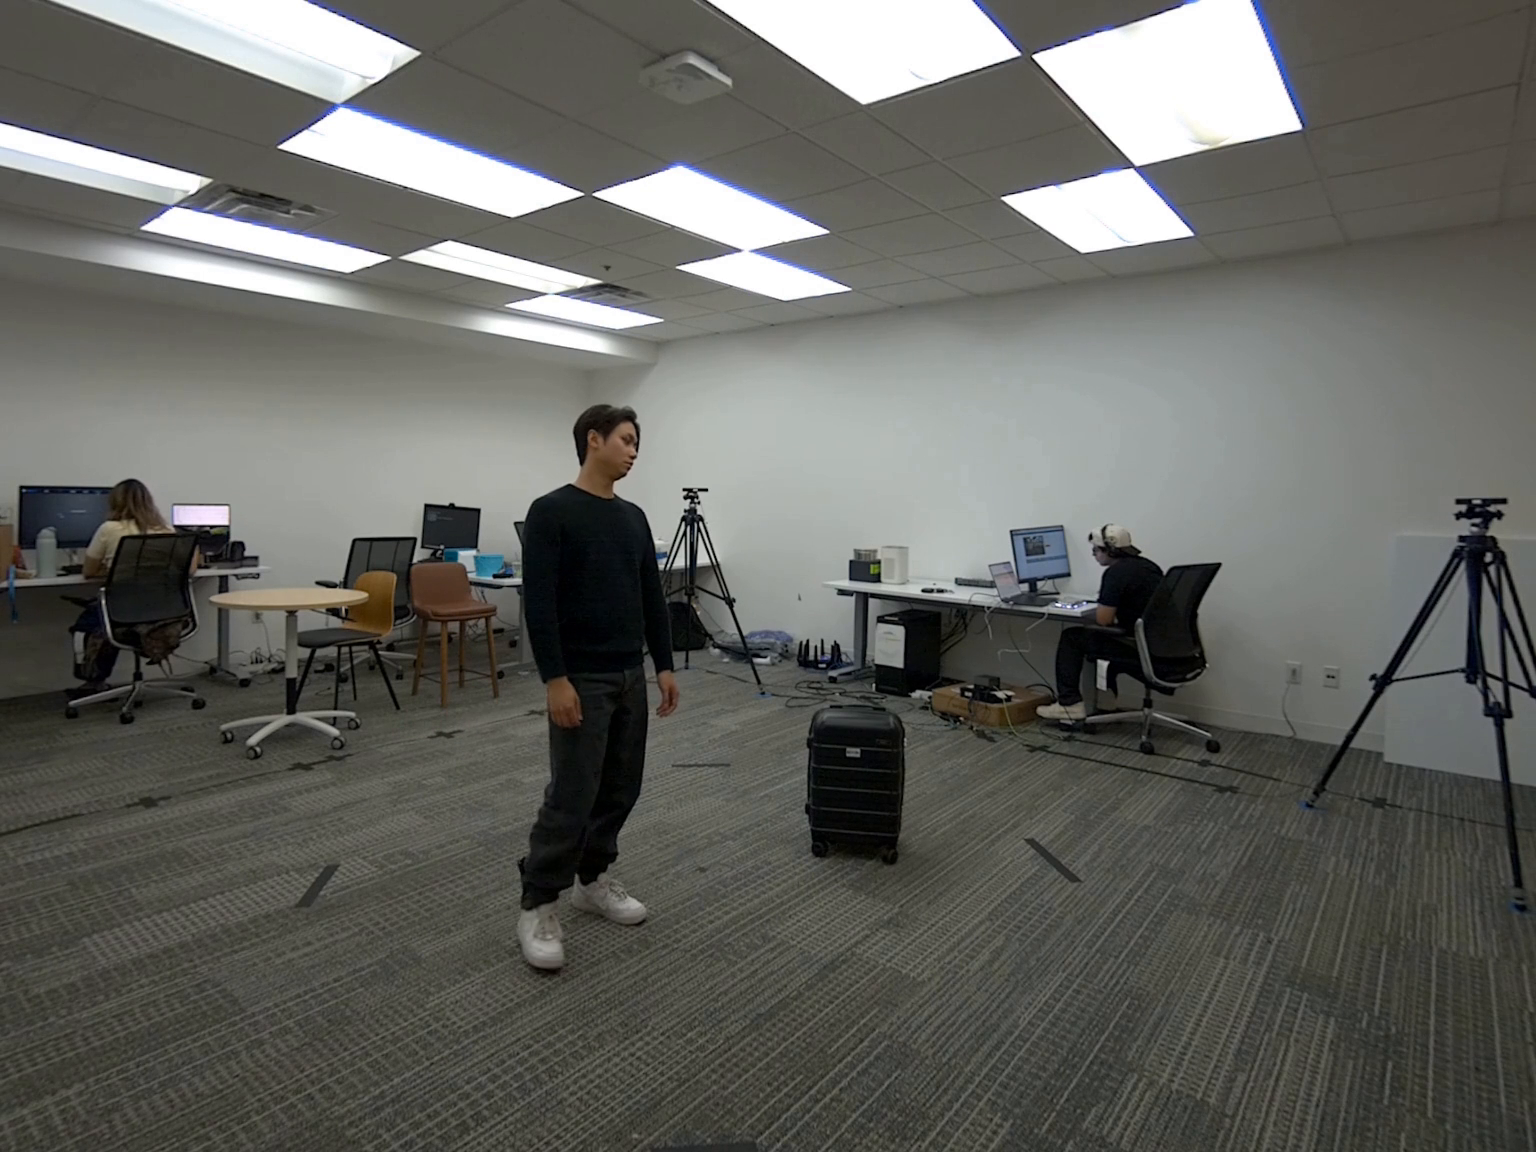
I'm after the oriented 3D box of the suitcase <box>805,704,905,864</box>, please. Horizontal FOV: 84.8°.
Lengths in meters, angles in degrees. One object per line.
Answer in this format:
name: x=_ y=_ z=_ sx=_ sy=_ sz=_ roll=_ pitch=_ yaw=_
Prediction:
suitcase: x=0.343 y=0.784 z=3.337 sx=0.379 sy=0.547 sz=0.247 roll=2 pitch=4 yaw=8
